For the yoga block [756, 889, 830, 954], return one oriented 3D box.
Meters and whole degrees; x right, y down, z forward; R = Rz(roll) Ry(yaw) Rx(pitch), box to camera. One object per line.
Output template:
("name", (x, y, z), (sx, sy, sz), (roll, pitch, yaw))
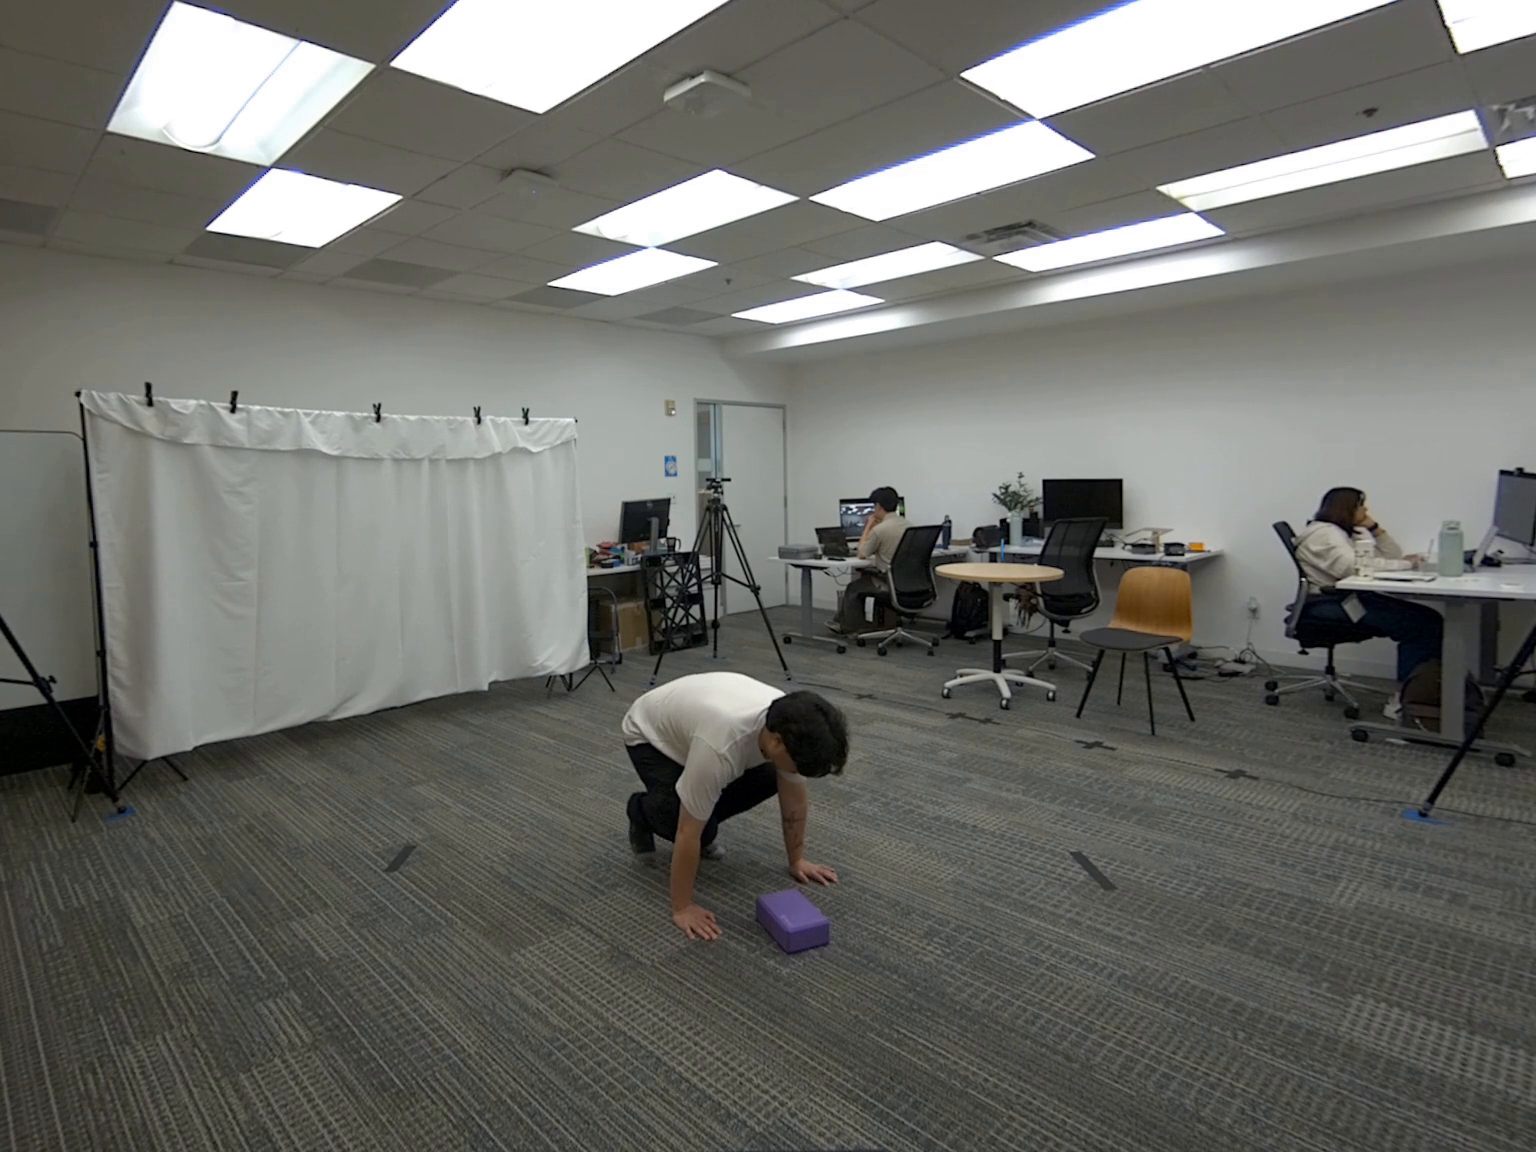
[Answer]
("yoga block", (0.071, 1.061, 2.630), (0.146, 0.076, 0.235), (-4, 7, -24))
